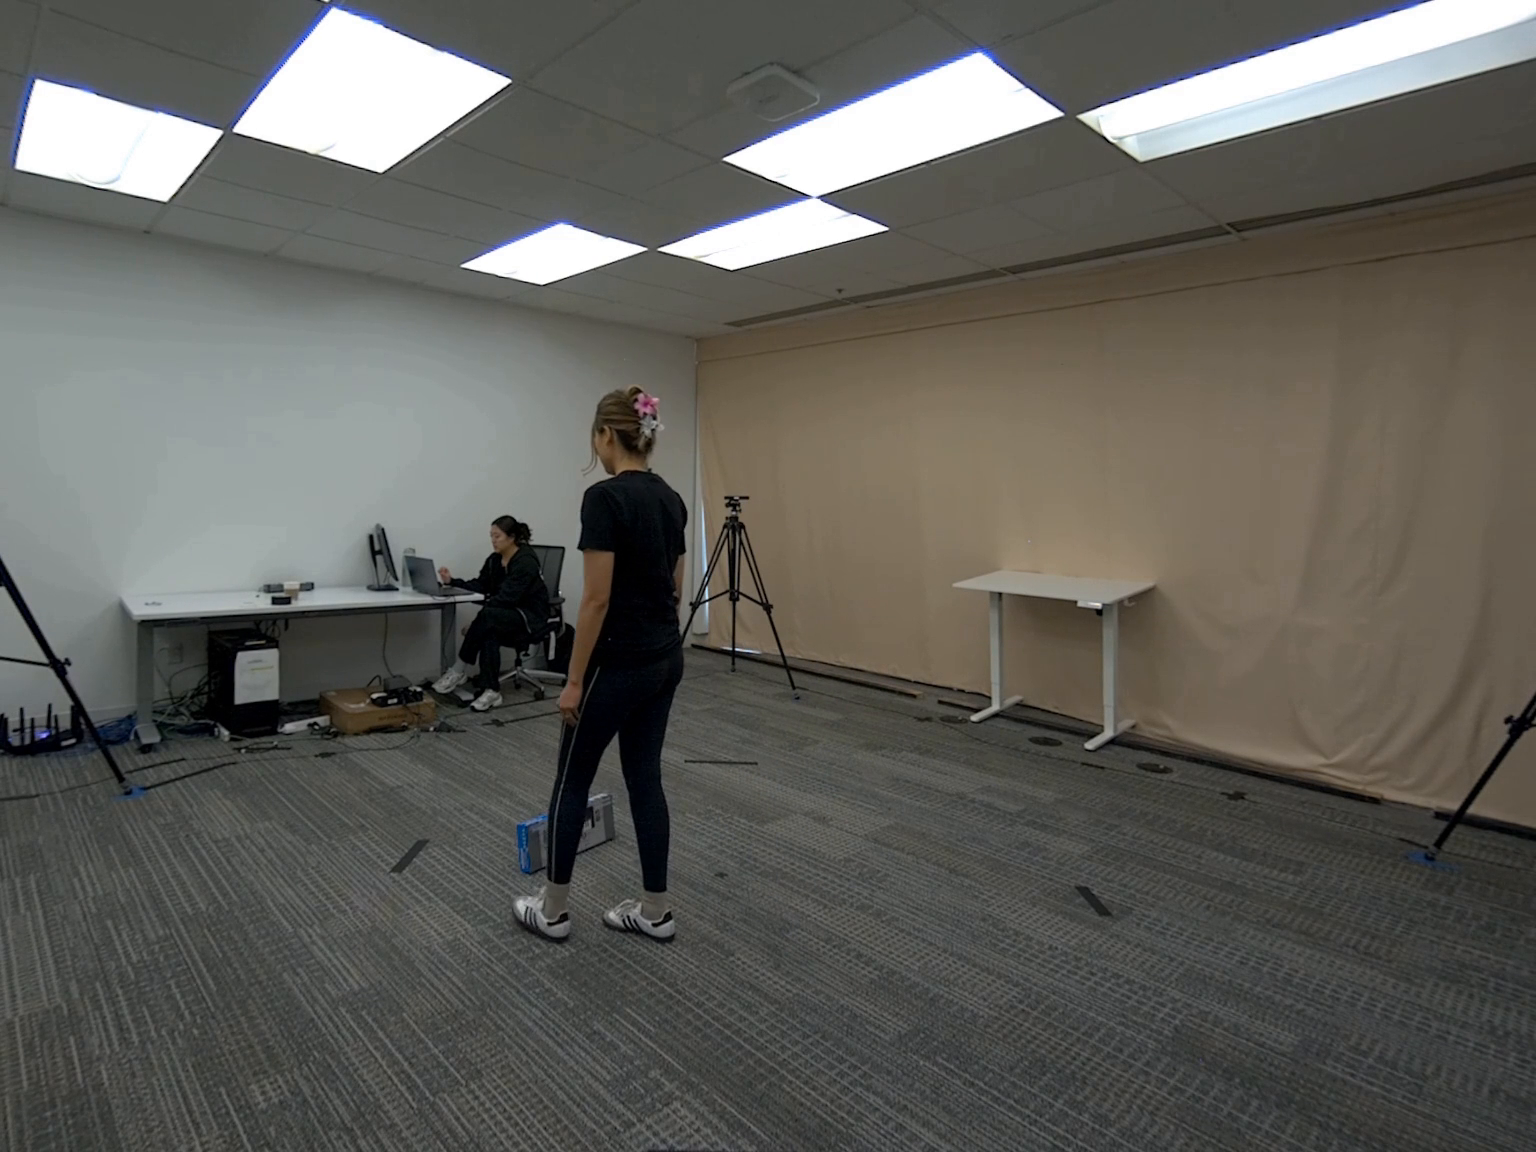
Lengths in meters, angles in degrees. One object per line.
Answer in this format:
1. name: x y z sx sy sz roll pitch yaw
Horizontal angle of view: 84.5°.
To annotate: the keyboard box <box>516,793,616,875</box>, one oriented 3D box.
1. keyboard box: -0.780 0.989 3.257 0.060 0.176 0.427 -7 -1 36
